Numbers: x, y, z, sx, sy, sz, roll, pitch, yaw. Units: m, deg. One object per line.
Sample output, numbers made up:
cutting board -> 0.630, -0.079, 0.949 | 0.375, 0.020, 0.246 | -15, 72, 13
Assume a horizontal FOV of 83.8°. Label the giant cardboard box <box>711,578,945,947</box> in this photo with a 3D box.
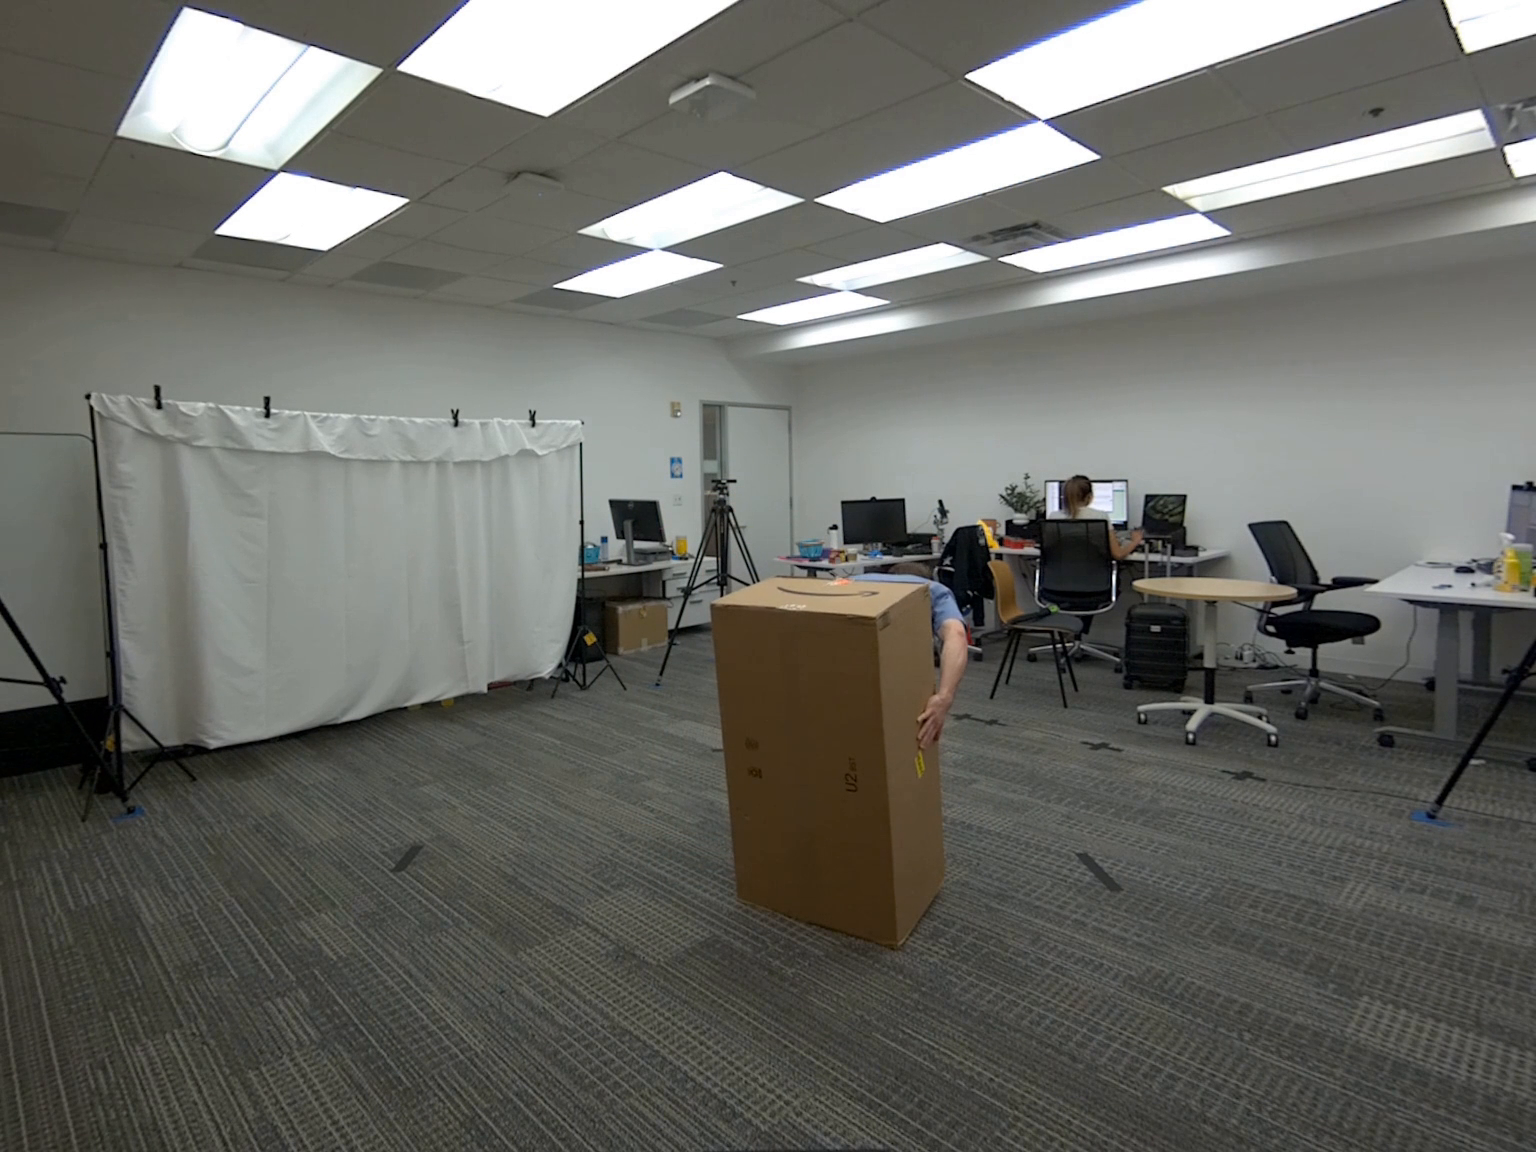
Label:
giant cardboard box -> 0.206, 0.559, 2.776 | 0.599, 1.018, 0.439 | 1, 11, 32
